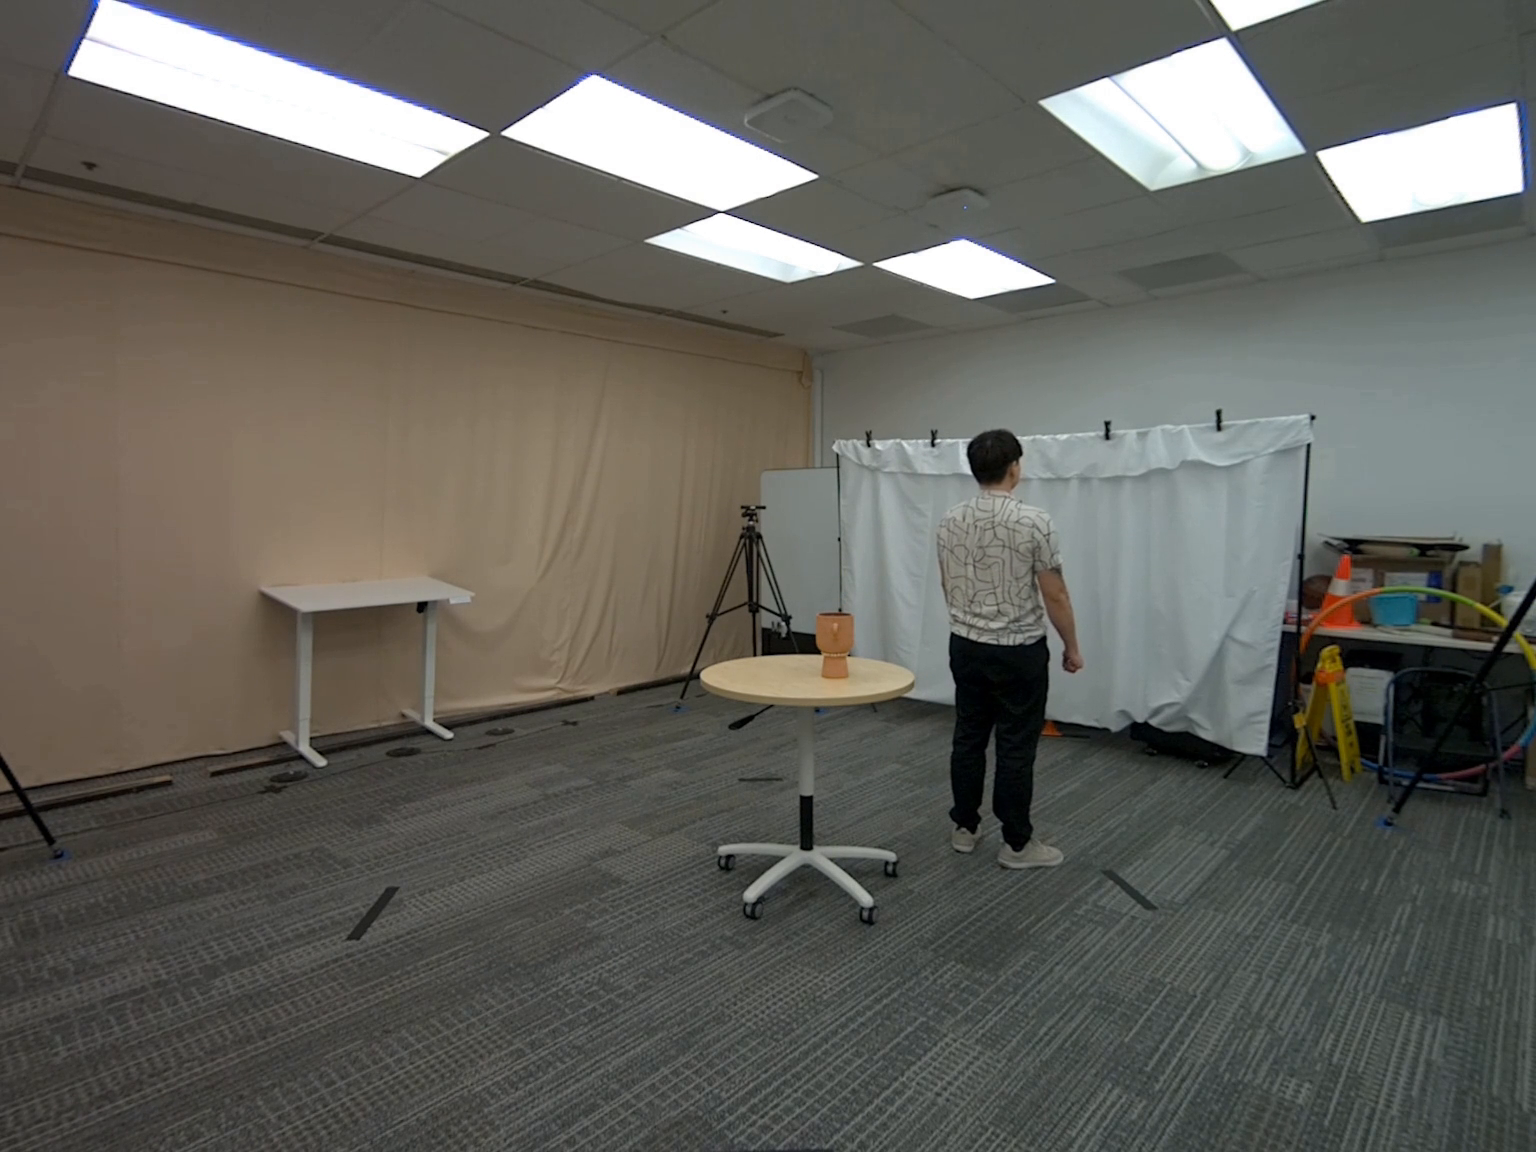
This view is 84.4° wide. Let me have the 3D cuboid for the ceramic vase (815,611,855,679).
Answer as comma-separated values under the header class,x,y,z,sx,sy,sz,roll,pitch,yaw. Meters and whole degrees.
class,x,y,z,sx,sy,sz,roll,pitch,yaw
ceramic vase,0.247,0.248,2.985,0.139,0.219,0.154,3,4,43
